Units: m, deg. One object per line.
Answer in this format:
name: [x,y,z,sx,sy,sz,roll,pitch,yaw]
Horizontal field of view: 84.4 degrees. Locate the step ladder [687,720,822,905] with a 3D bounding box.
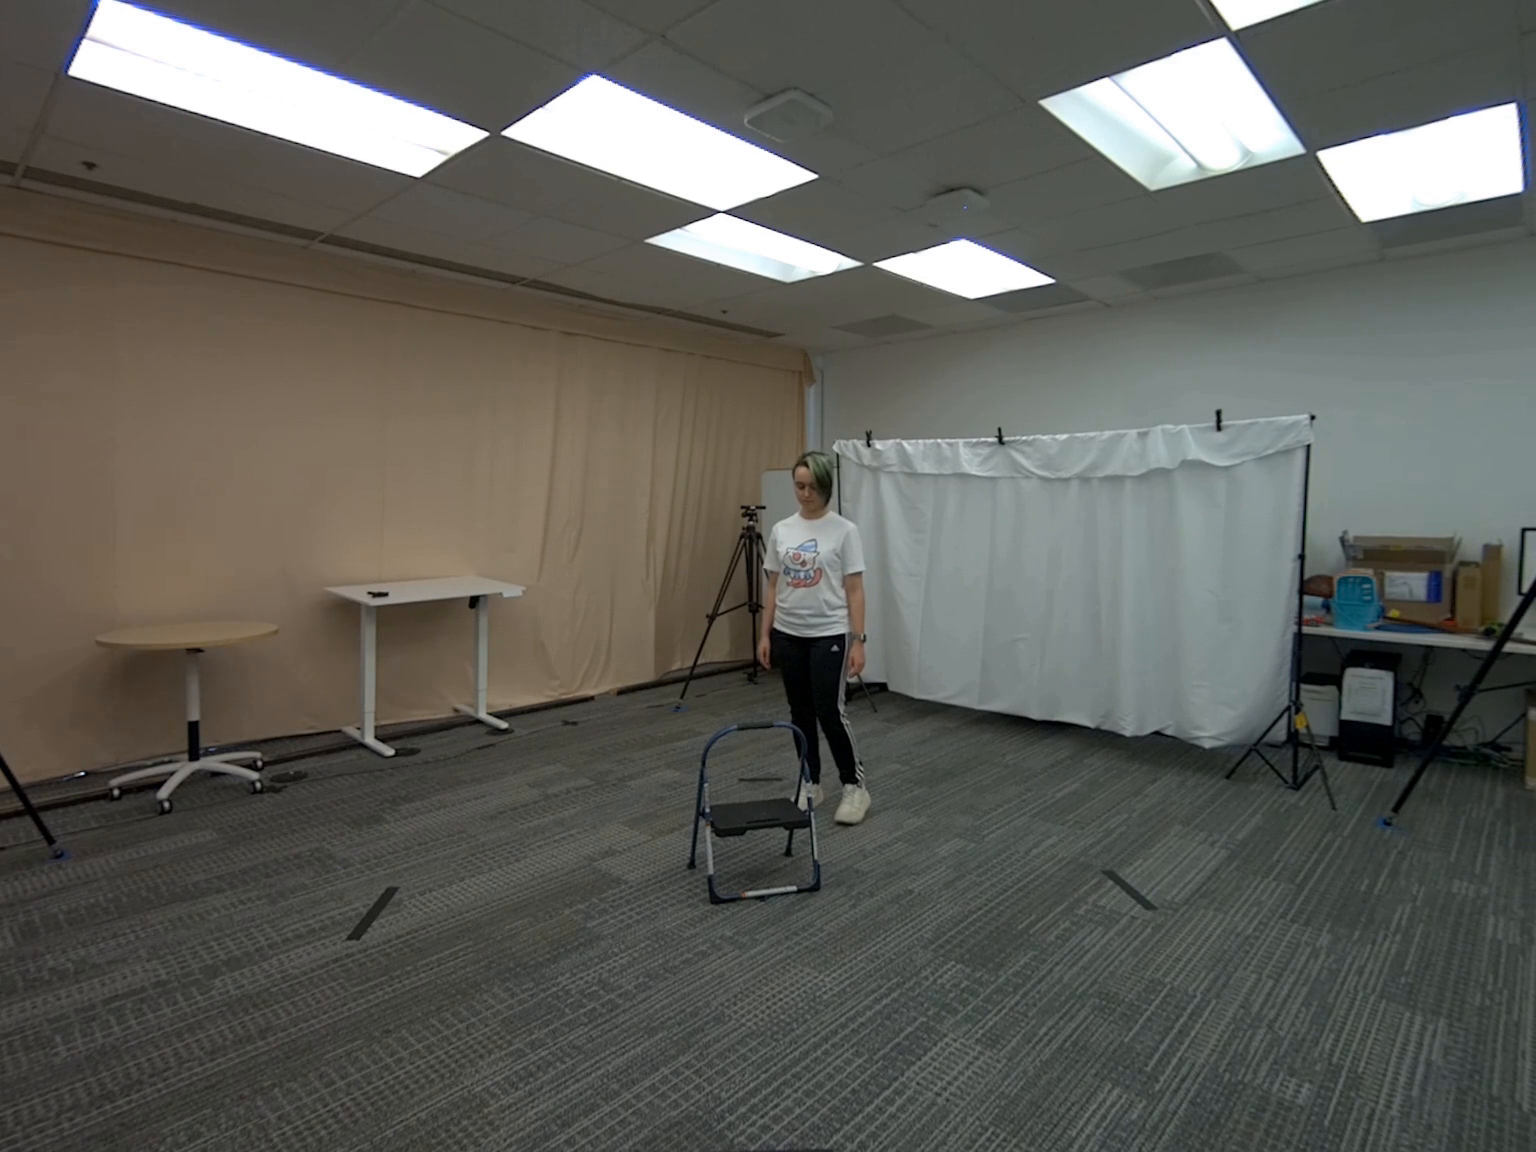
step ladder: [-0.059,0.829,3.135,0.423,0.605,0.356,-2,4,-17]
